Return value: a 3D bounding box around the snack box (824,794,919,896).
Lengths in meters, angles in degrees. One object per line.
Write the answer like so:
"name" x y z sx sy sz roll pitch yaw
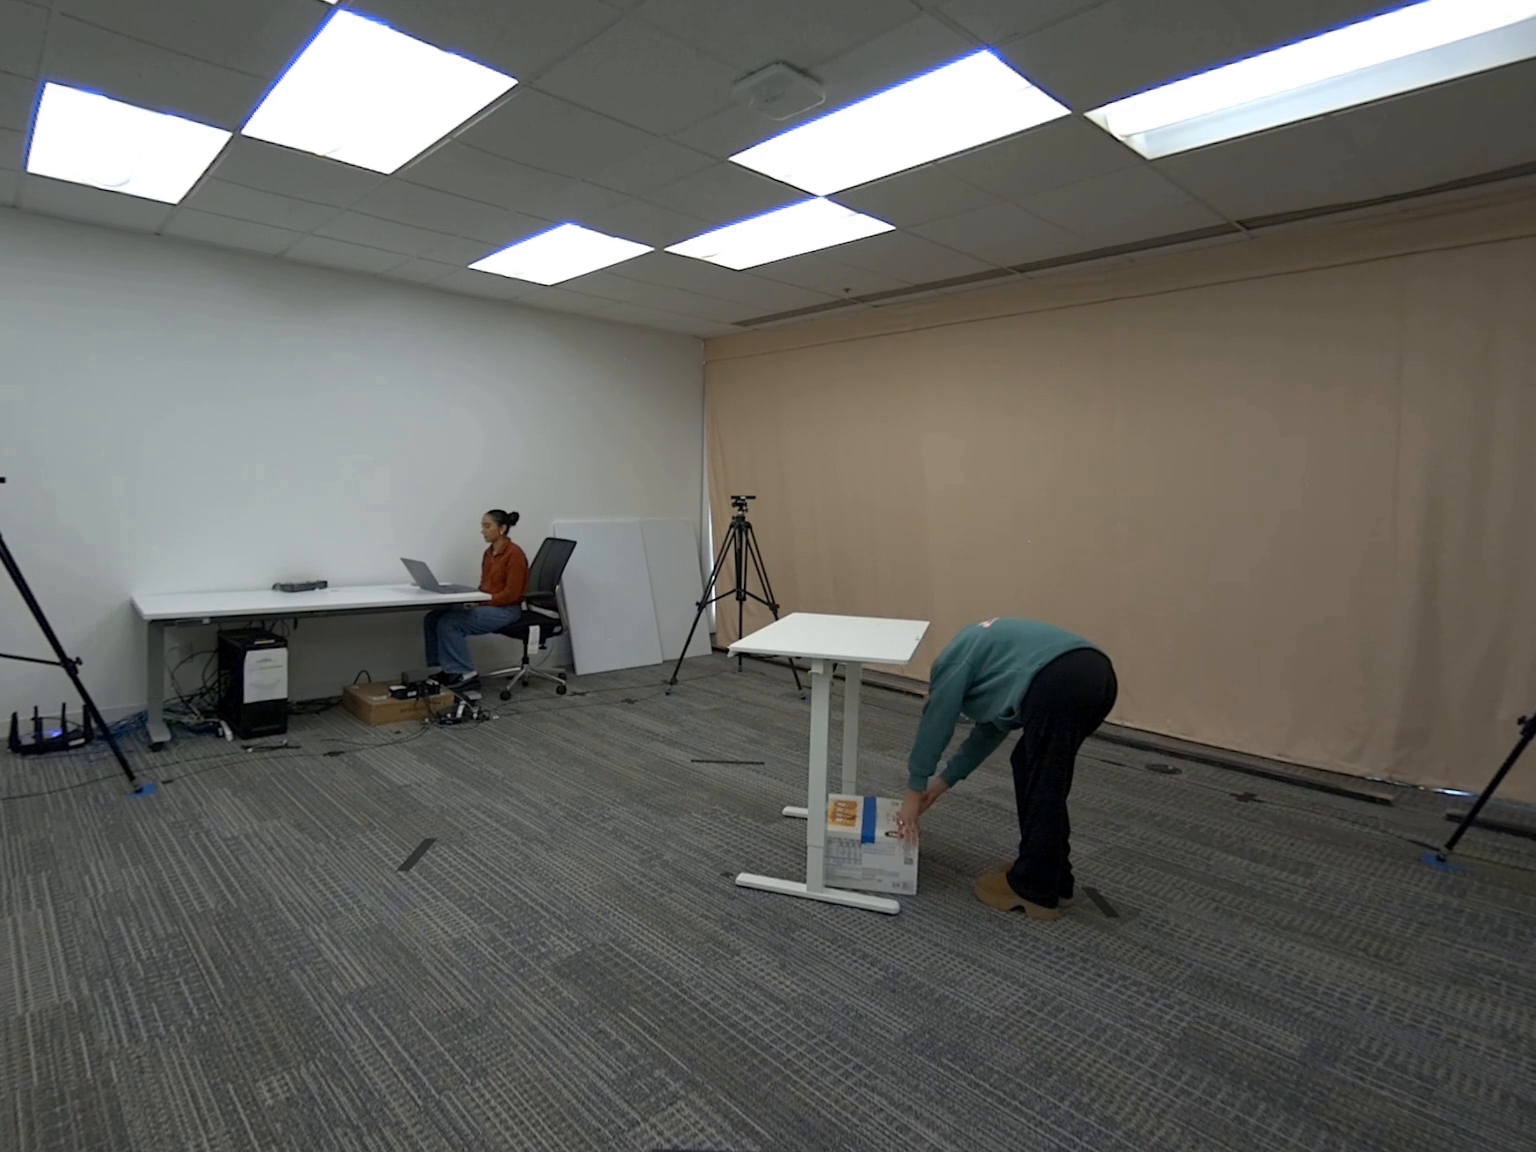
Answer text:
"snack box" 0.381 1.001 3.184 0.343 0.205 0.403 2 4 9
